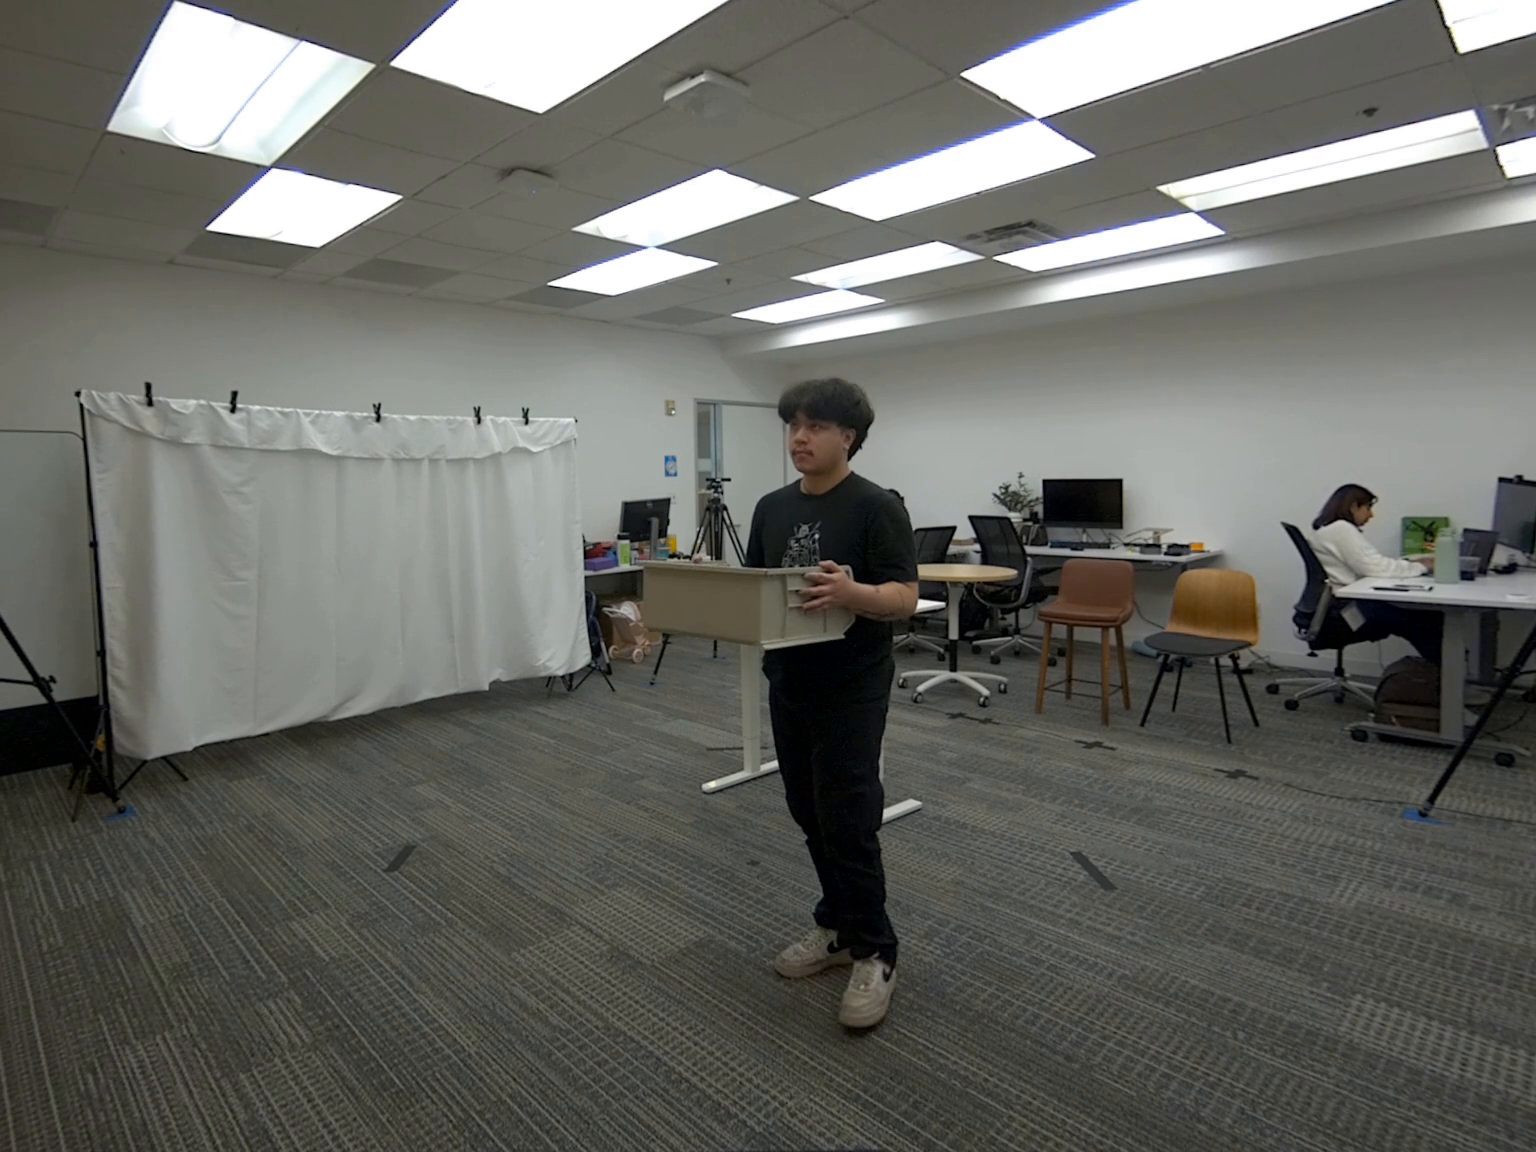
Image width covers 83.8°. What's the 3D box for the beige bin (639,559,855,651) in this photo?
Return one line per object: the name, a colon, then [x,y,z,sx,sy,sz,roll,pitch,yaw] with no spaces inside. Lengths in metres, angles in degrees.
beige bin: [-0.051,0.063,2.141,0.435,0.188,0.367,4,5,42]
